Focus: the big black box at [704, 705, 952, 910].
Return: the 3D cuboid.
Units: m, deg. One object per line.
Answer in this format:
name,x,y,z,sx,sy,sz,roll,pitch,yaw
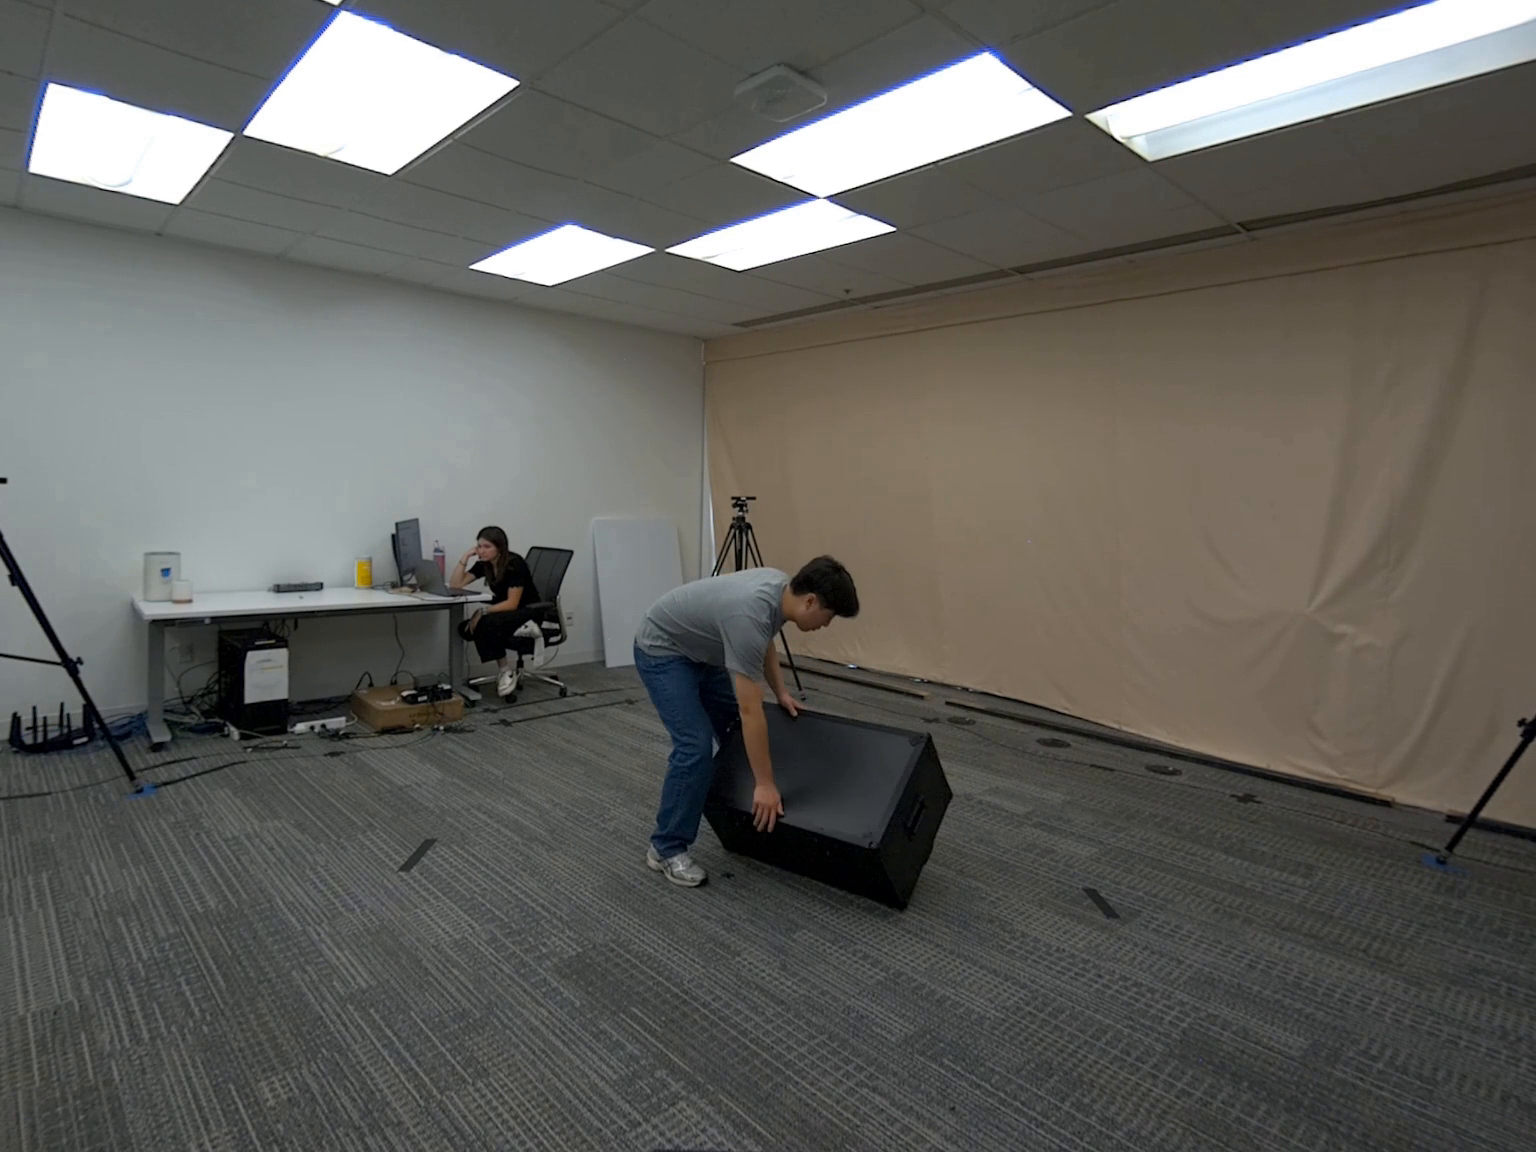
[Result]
big black box,0.175,0.819,3.151,0.883,0.385,0.523,5,45,37
